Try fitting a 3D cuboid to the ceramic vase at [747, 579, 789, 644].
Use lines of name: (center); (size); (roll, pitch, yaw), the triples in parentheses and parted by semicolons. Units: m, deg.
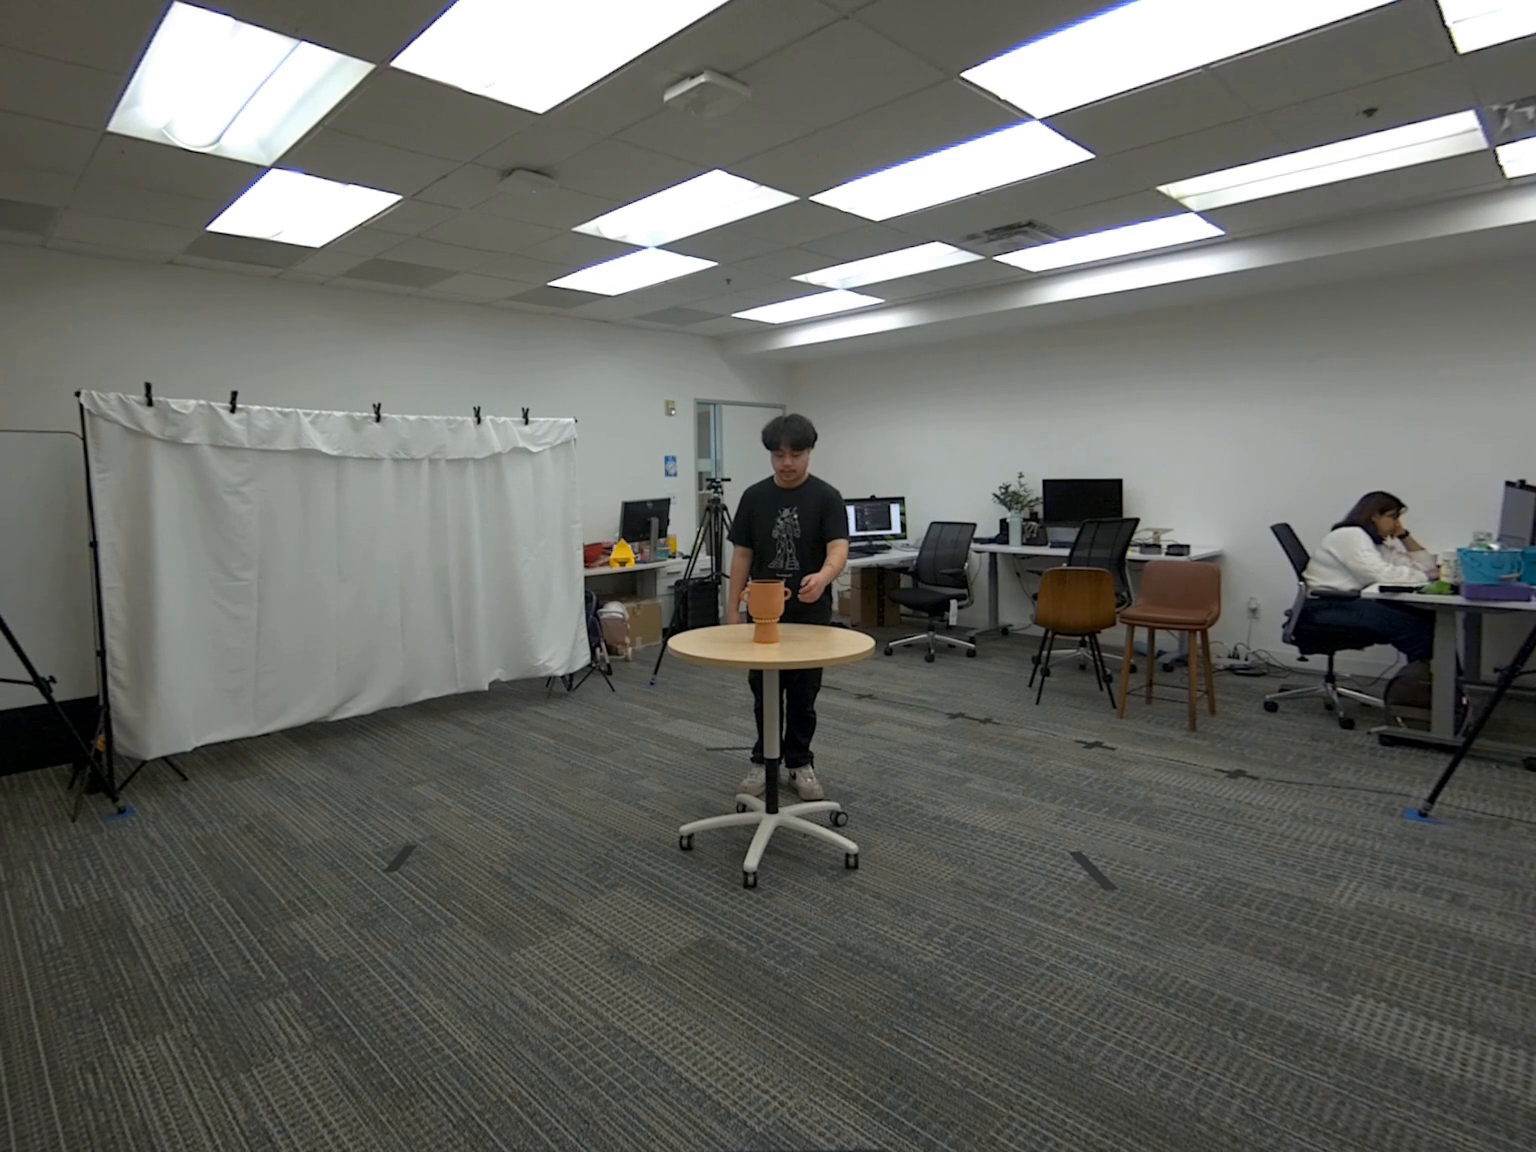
ceramic vase: (-0.008, 0.135, 3.154); (0.161, 0.219, 0.133); (2, 5, 17)
